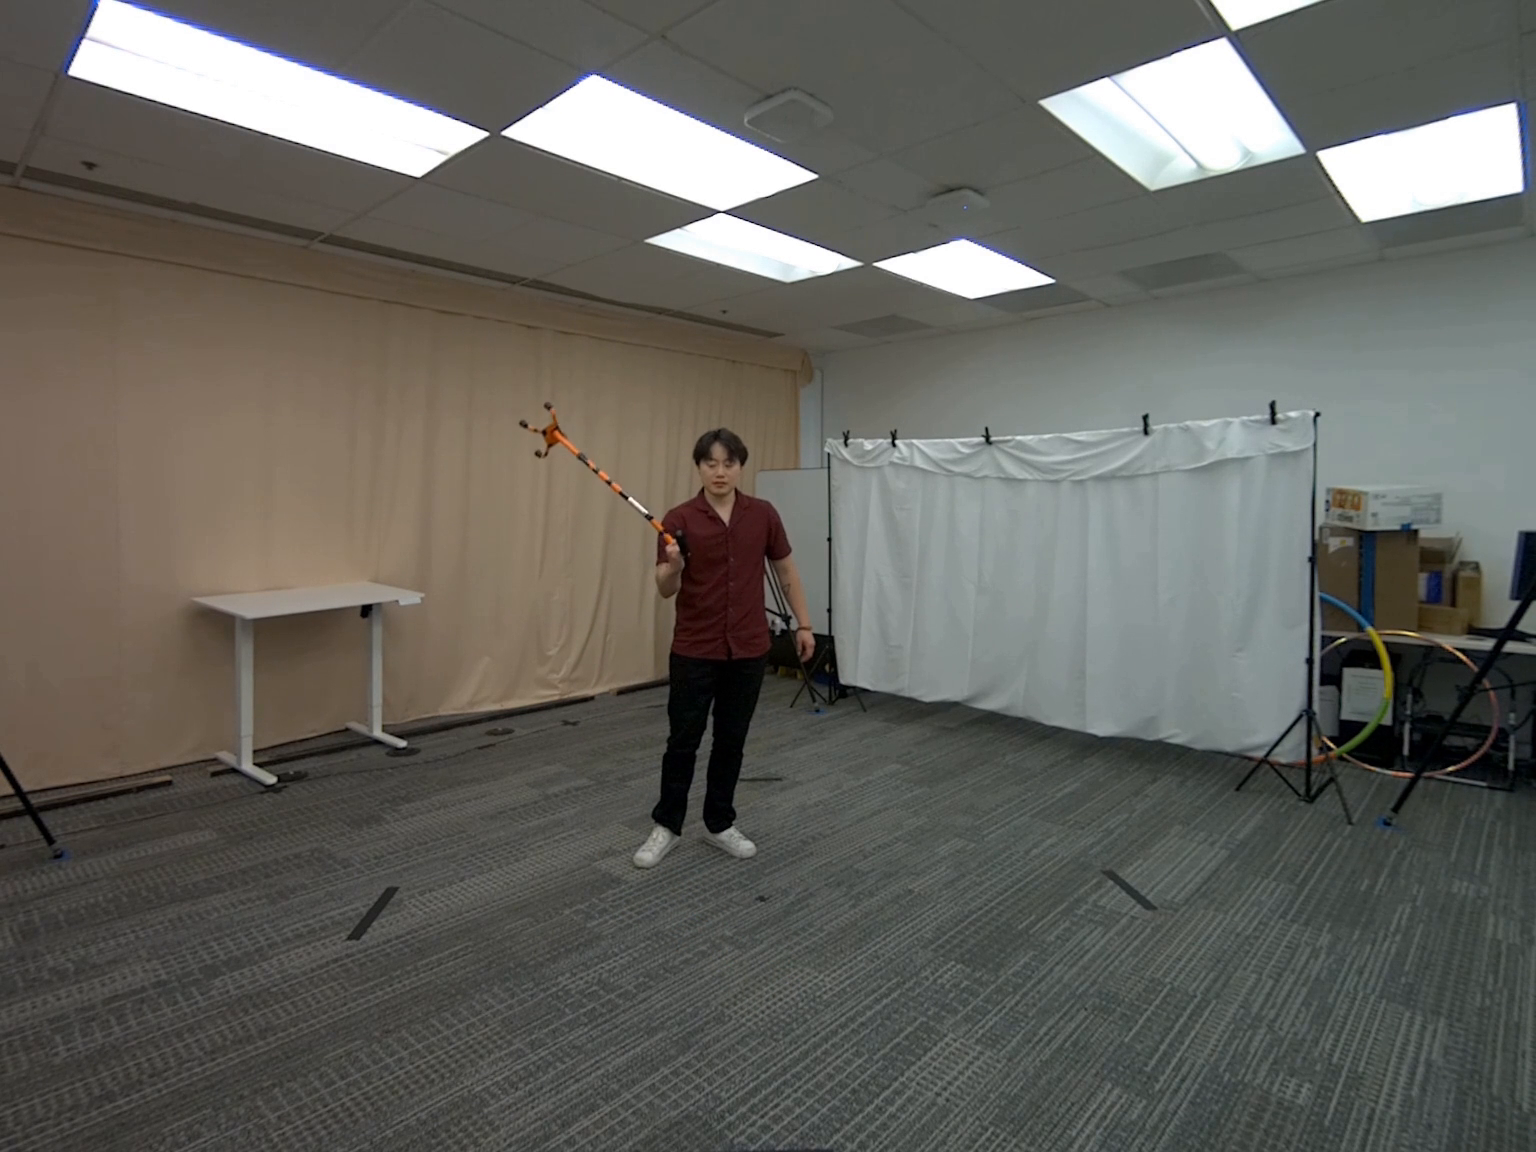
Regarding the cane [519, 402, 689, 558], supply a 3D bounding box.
[{"bbox_3d":[-0.599,-0.330,3.127,0.150,0.201,0.937,-39,58,-18],"label":"cane"}]
